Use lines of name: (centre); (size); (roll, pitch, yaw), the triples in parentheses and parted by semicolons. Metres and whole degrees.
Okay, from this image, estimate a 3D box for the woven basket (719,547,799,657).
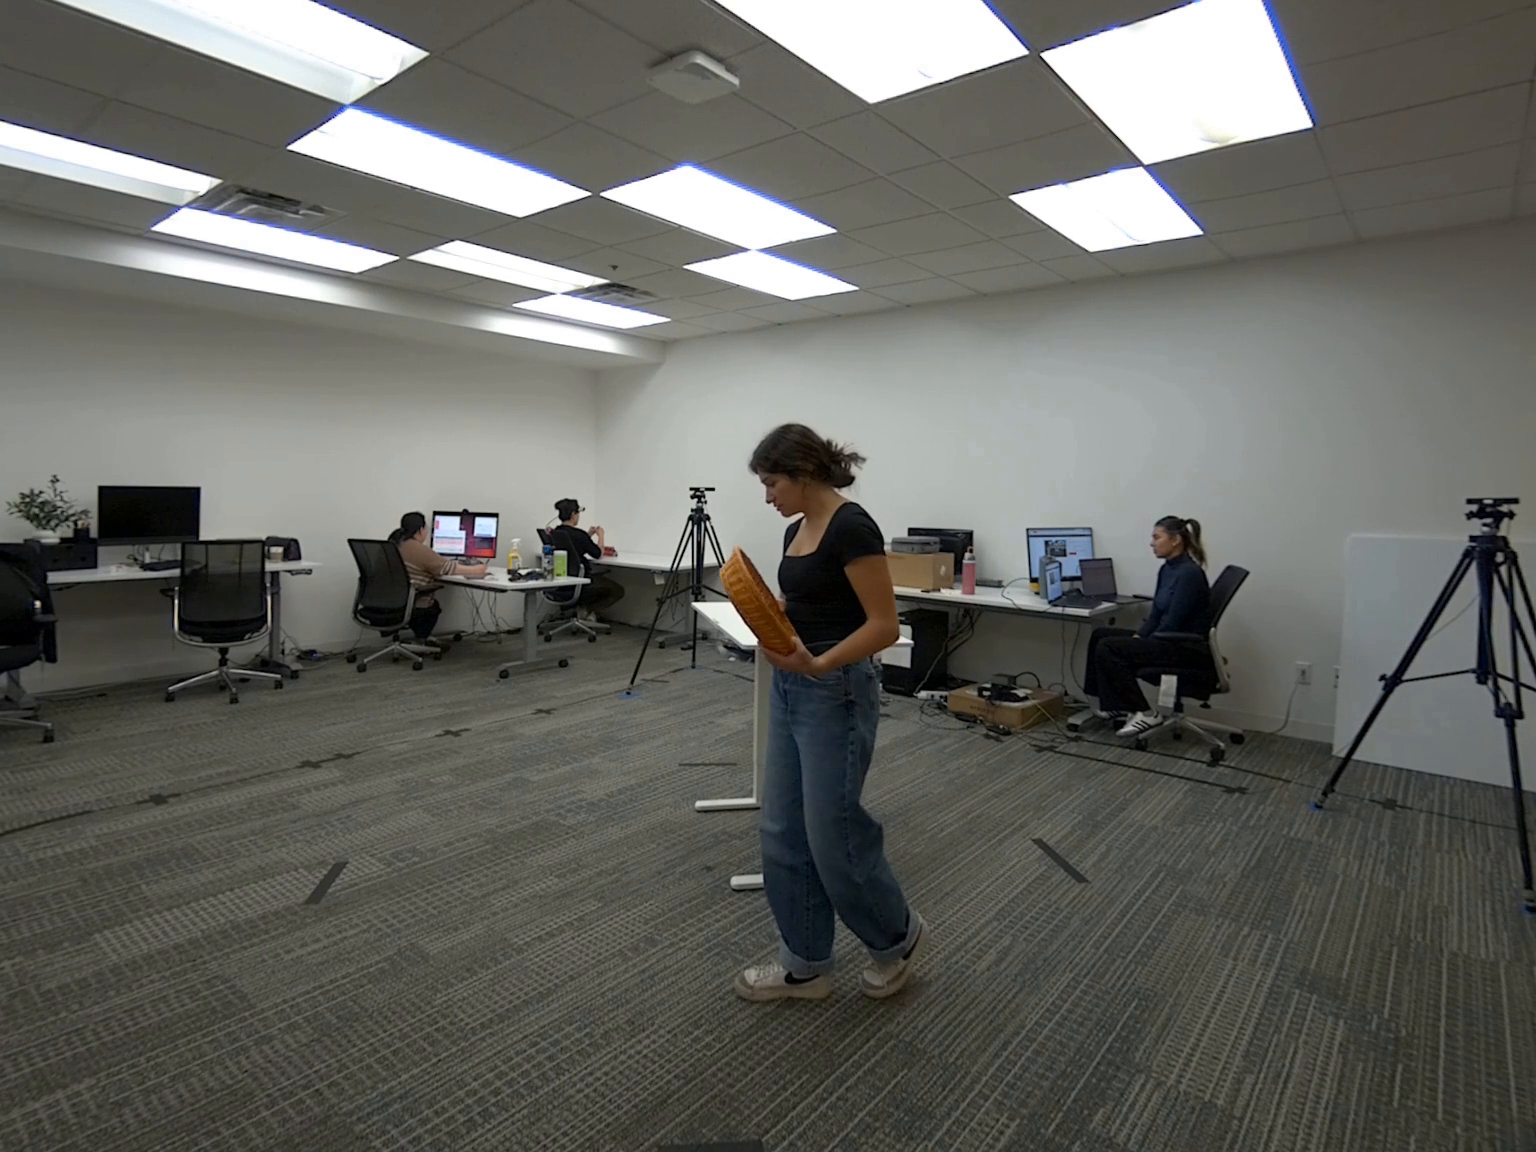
woven basket: (-0.024, 0.083, 2.105); (0.073, 0.339, 0.260); (-32, 26, 6)
